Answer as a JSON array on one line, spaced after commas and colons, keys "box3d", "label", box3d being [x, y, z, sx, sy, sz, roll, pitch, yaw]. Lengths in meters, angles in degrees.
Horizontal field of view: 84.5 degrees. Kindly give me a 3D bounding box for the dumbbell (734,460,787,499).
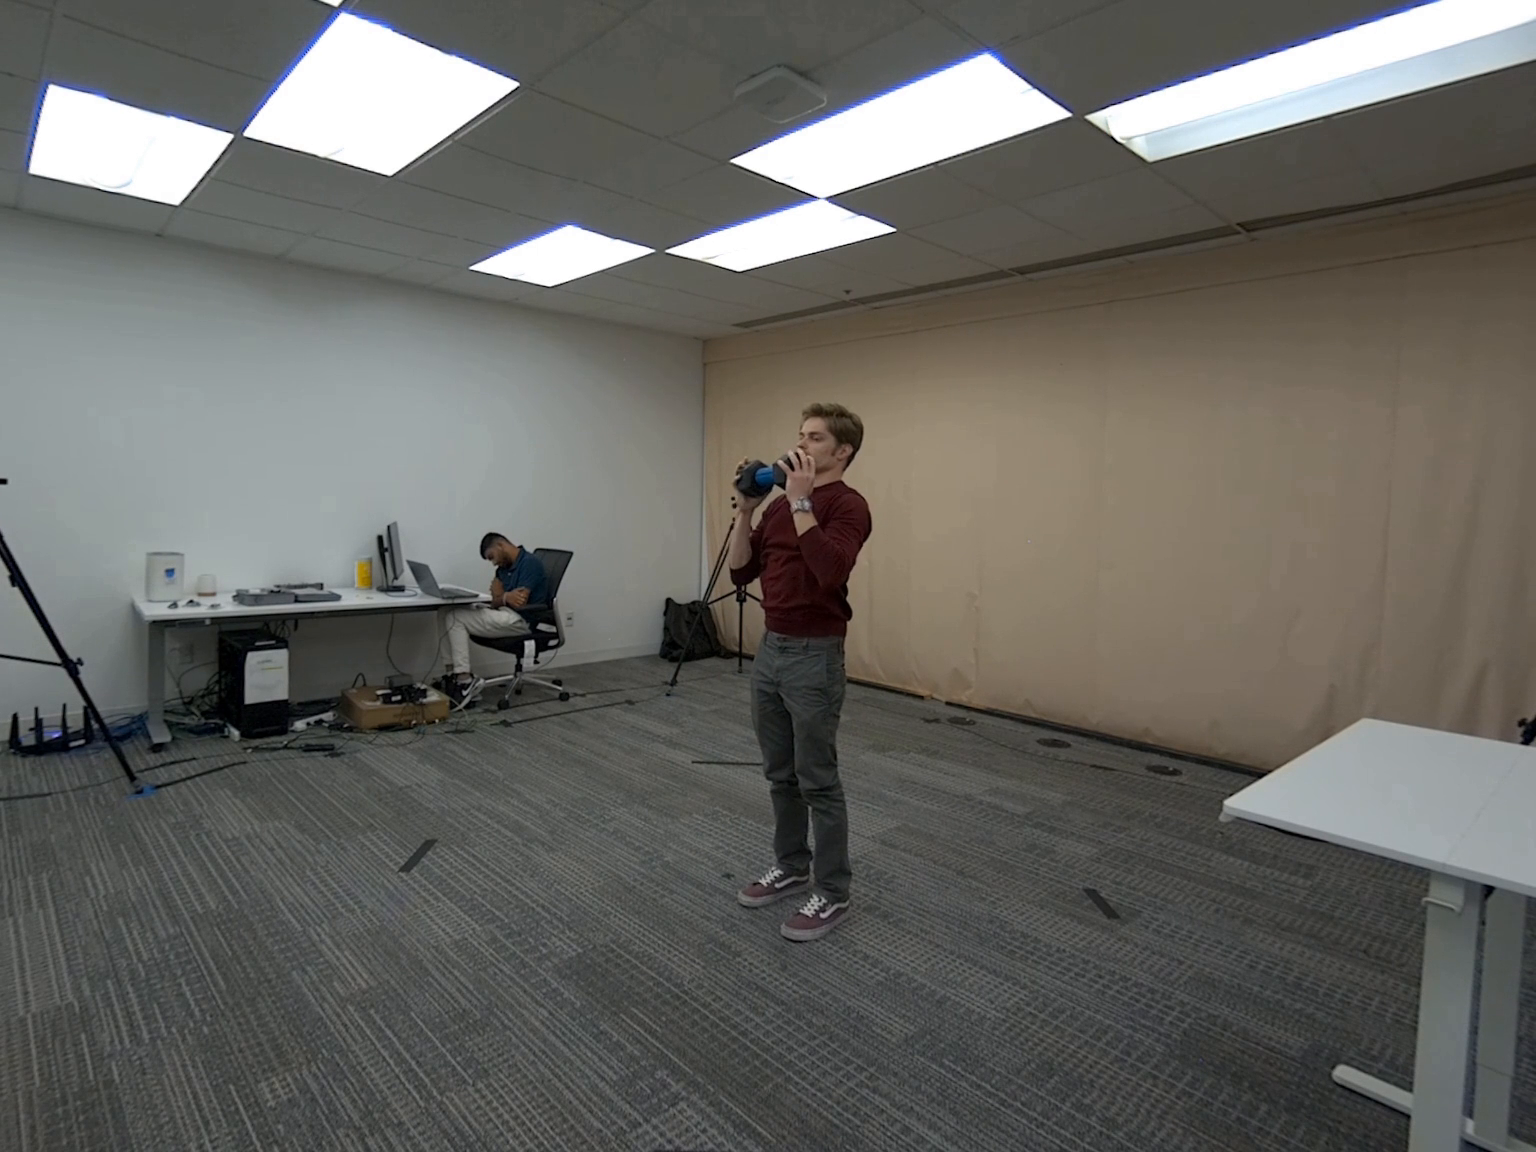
[{"box3d": [0.015, -0.336, 2.705, 0.106, 0.123, 0.300, -5, 2, -34], "label": "dumbbell"}]
